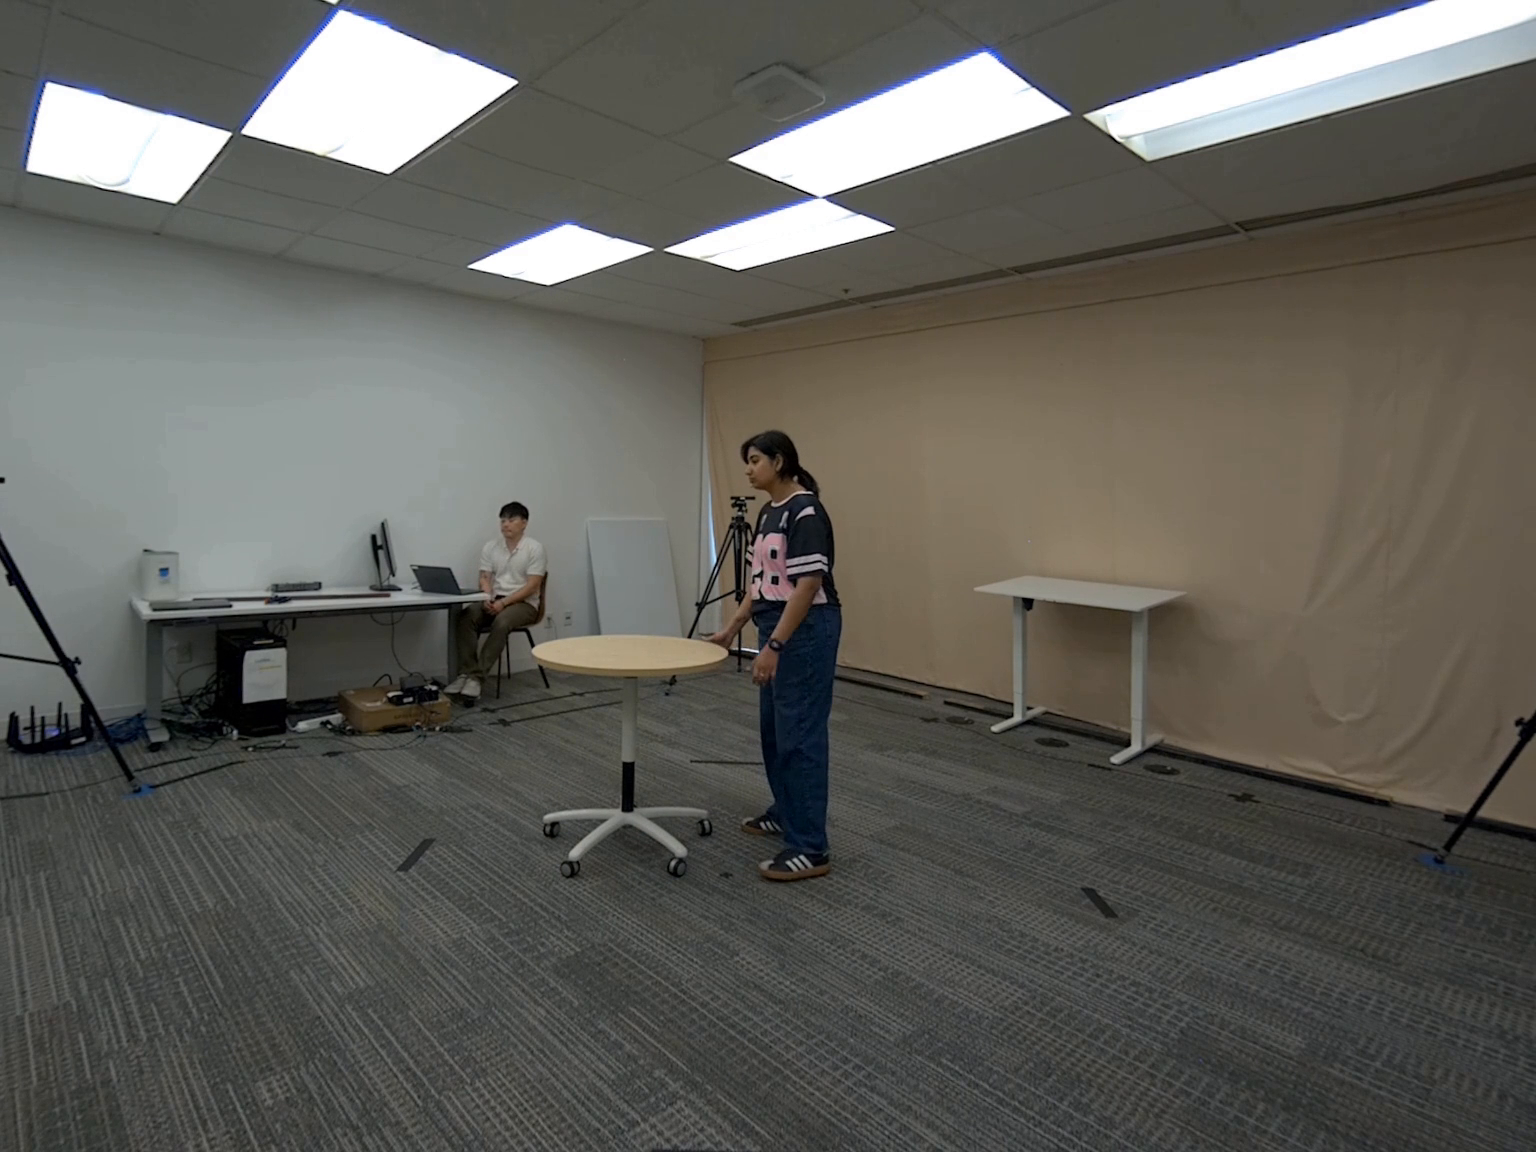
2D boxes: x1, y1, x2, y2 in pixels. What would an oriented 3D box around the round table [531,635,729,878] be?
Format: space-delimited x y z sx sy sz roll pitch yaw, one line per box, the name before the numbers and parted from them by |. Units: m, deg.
round table | -0.562 0.686 3.328 0.763 0.792 0.766 2 3 -1
